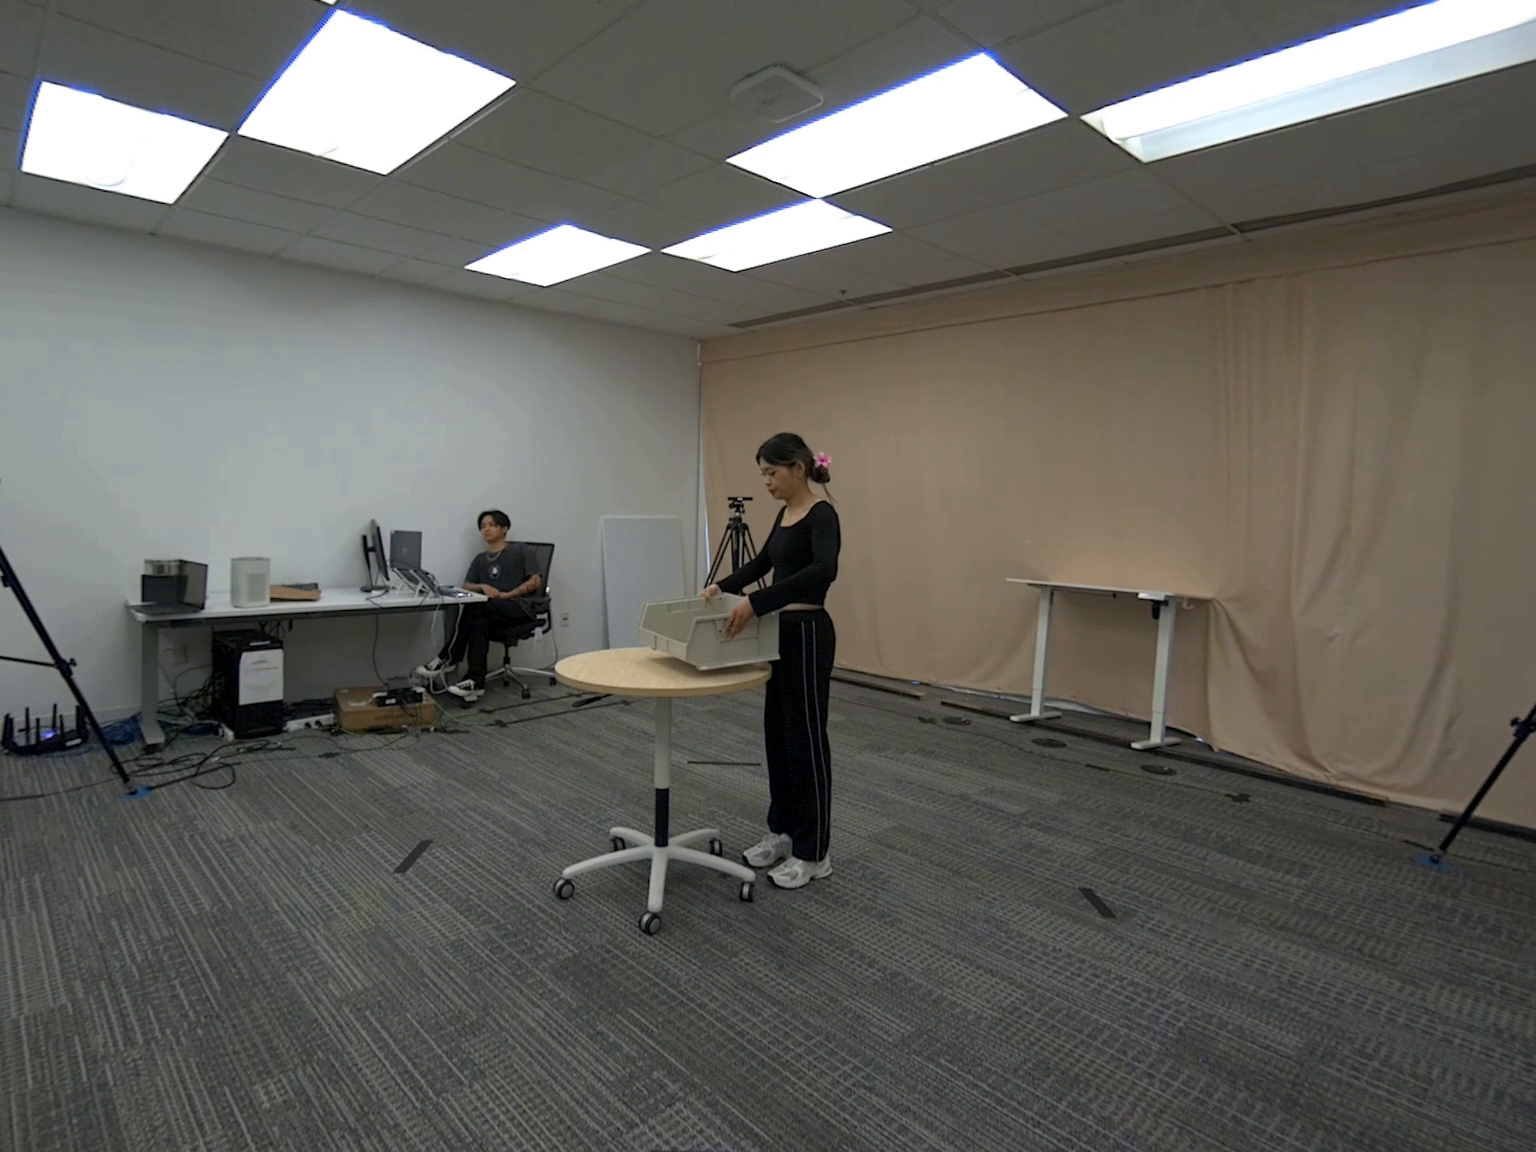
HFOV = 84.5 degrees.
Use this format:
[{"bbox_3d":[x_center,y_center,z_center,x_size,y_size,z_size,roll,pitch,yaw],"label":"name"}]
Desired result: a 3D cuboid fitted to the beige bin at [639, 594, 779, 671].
[{"bbox_3d":[-0.218,0.190,3.006,0.370,0.188,0.432,-4,6,-30],"label":"beige bin"}]
